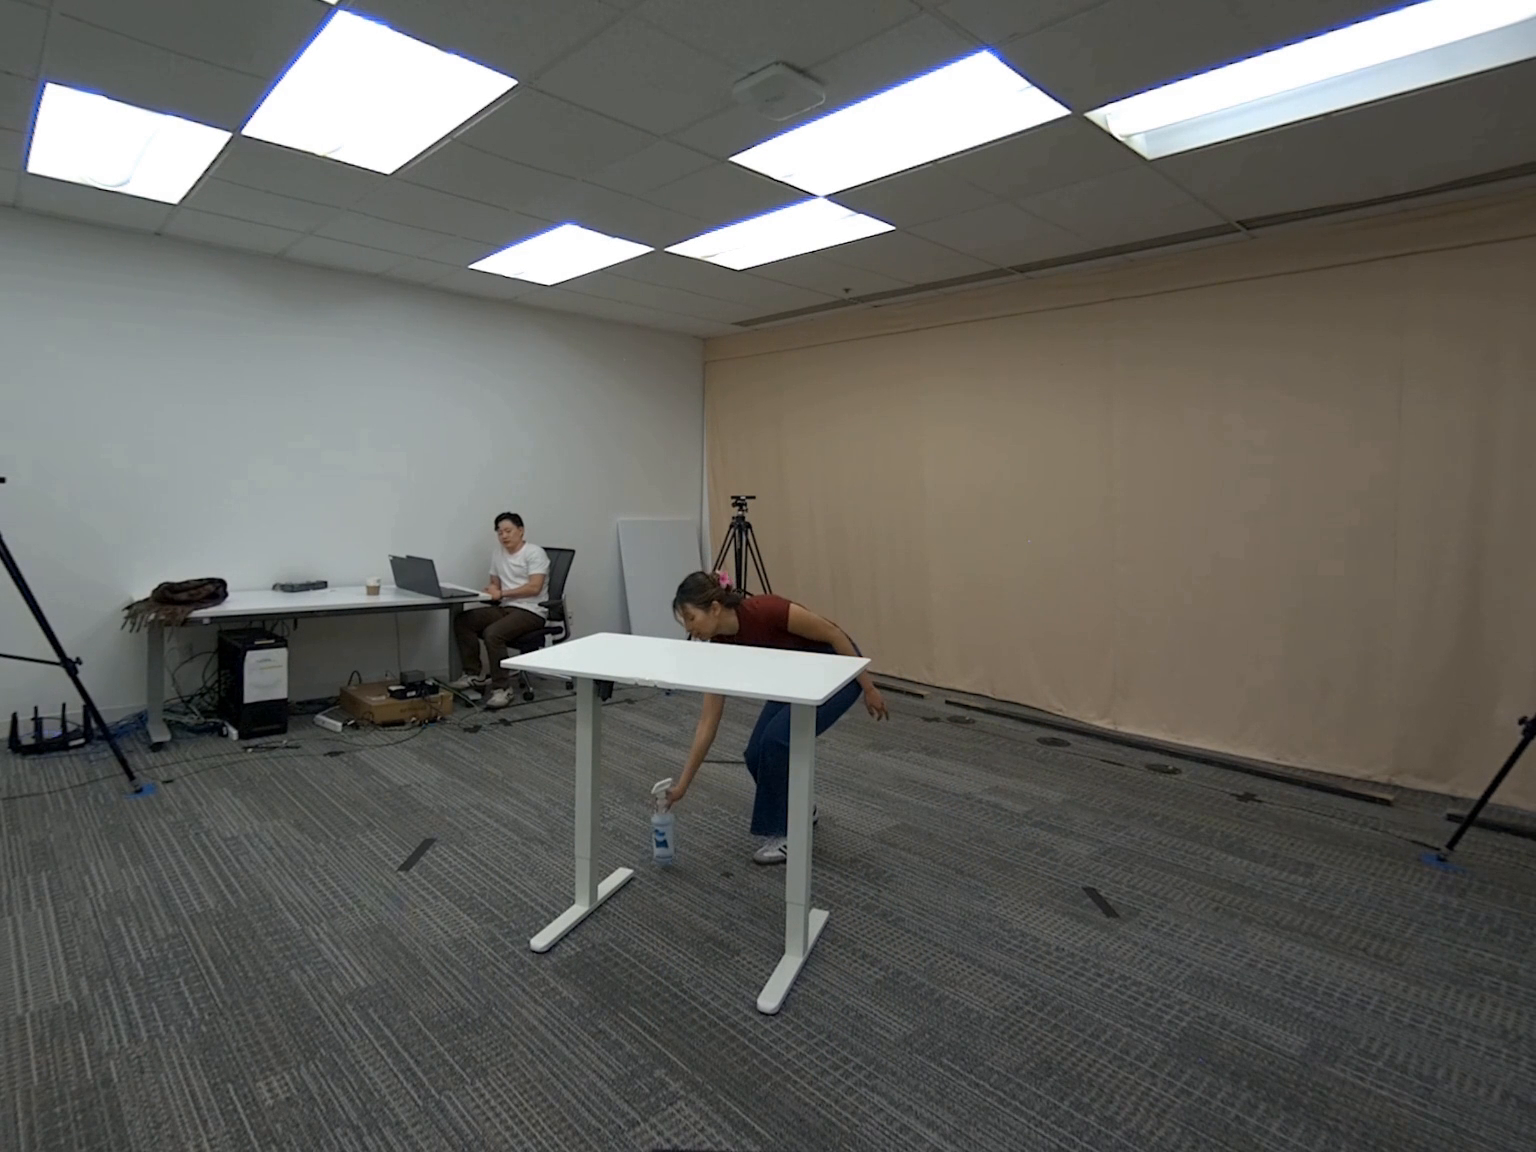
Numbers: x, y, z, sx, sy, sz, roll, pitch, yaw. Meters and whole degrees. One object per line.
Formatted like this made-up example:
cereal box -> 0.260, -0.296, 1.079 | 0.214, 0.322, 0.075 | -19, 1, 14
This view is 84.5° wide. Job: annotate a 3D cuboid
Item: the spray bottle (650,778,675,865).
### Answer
spray bottle -> -0.392, 0.899, 3.115 | 0.089, 0.296, 0.088 | -1, 8, -15
